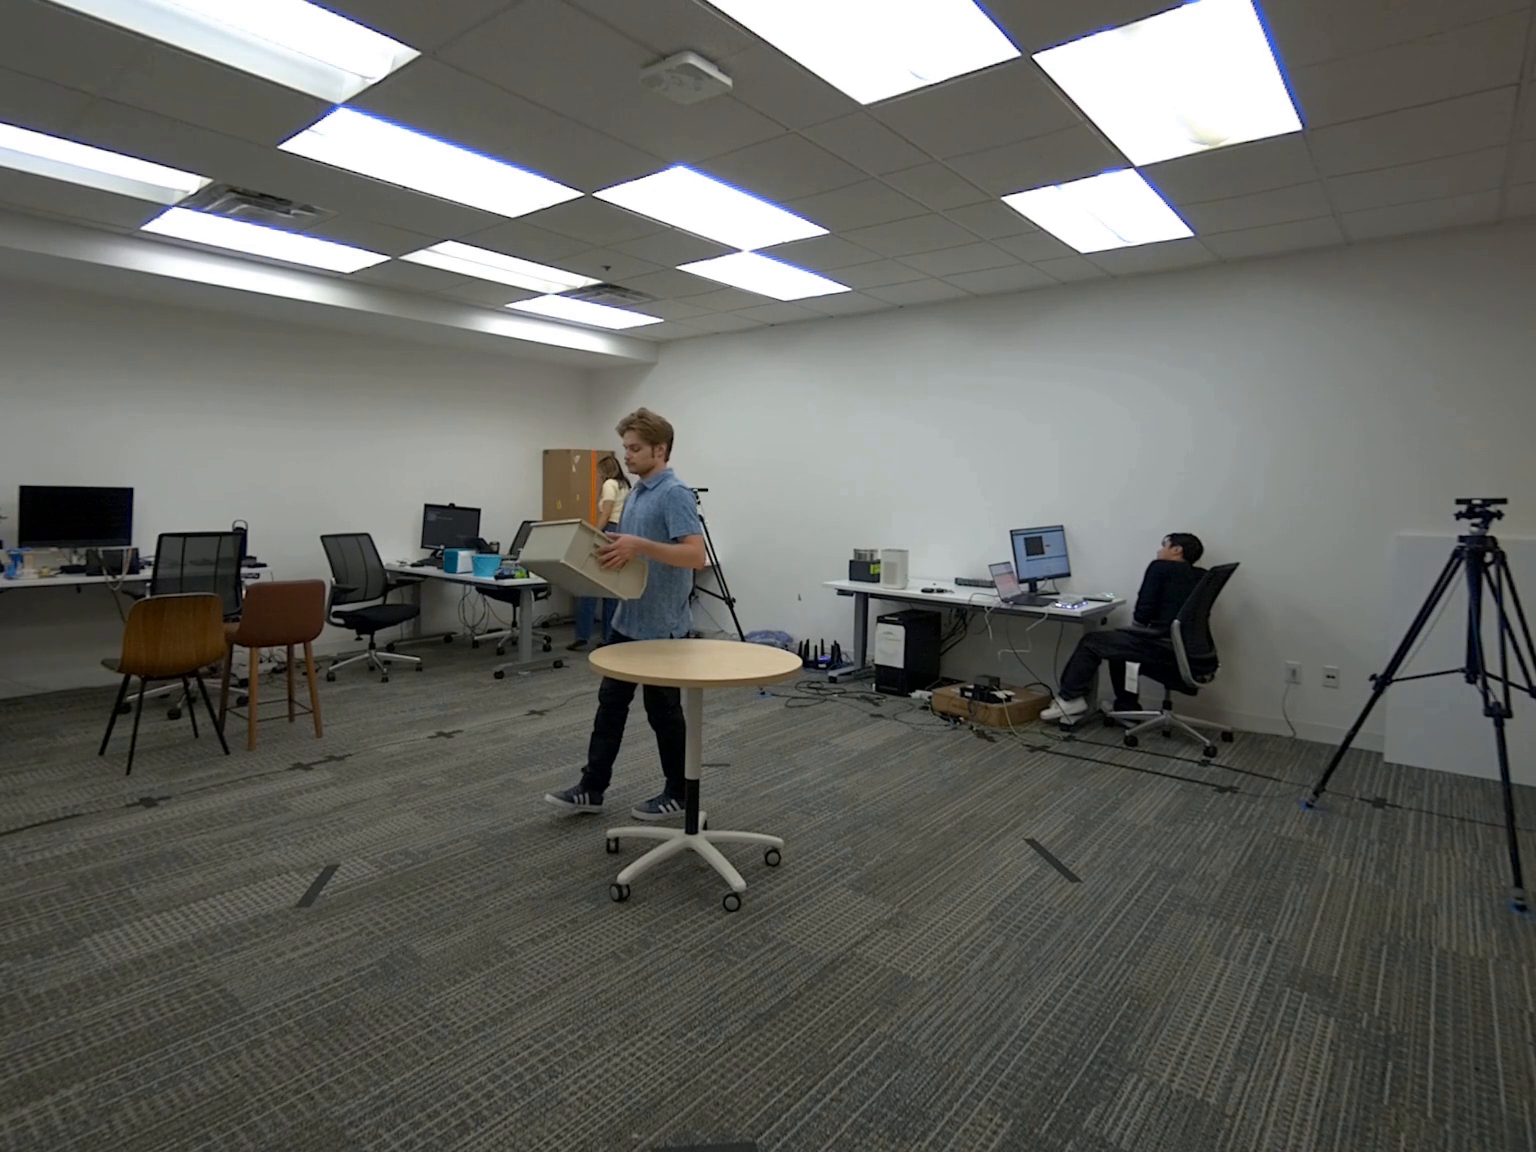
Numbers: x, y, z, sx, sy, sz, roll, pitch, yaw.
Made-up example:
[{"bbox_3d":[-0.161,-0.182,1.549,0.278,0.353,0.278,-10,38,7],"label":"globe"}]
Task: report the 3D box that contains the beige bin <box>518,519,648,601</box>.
[{"bbox_3d":[-0.756,-0.051,3.402,0.363,0.190,0.435,34,-21,-35],"label":"beige bin"}]
